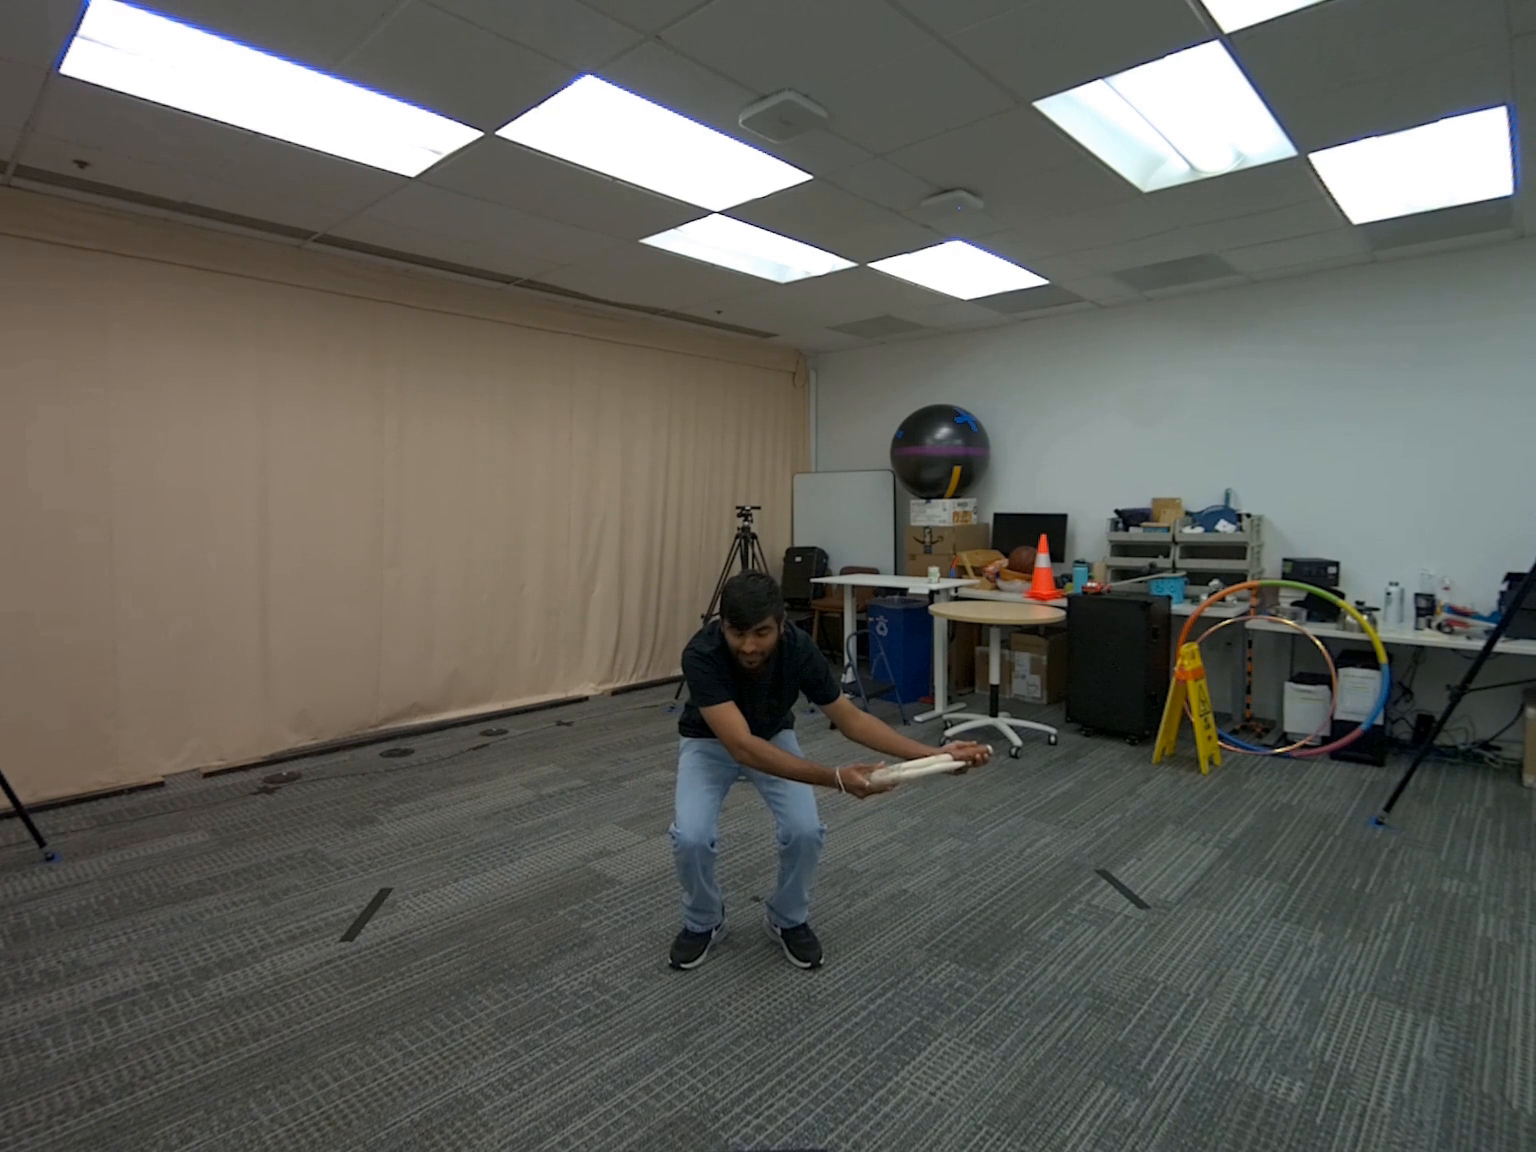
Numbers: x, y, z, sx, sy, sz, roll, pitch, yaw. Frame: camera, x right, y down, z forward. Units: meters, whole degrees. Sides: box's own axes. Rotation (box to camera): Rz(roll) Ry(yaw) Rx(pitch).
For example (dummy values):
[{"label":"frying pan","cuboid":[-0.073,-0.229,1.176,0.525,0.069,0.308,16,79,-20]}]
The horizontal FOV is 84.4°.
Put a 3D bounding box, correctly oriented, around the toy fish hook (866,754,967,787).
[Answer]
[{"label":"toy fish hook","cuboid":[0.475,0.503,2.217,0.491,0.048,0.230,-3,-9,-39]}]
